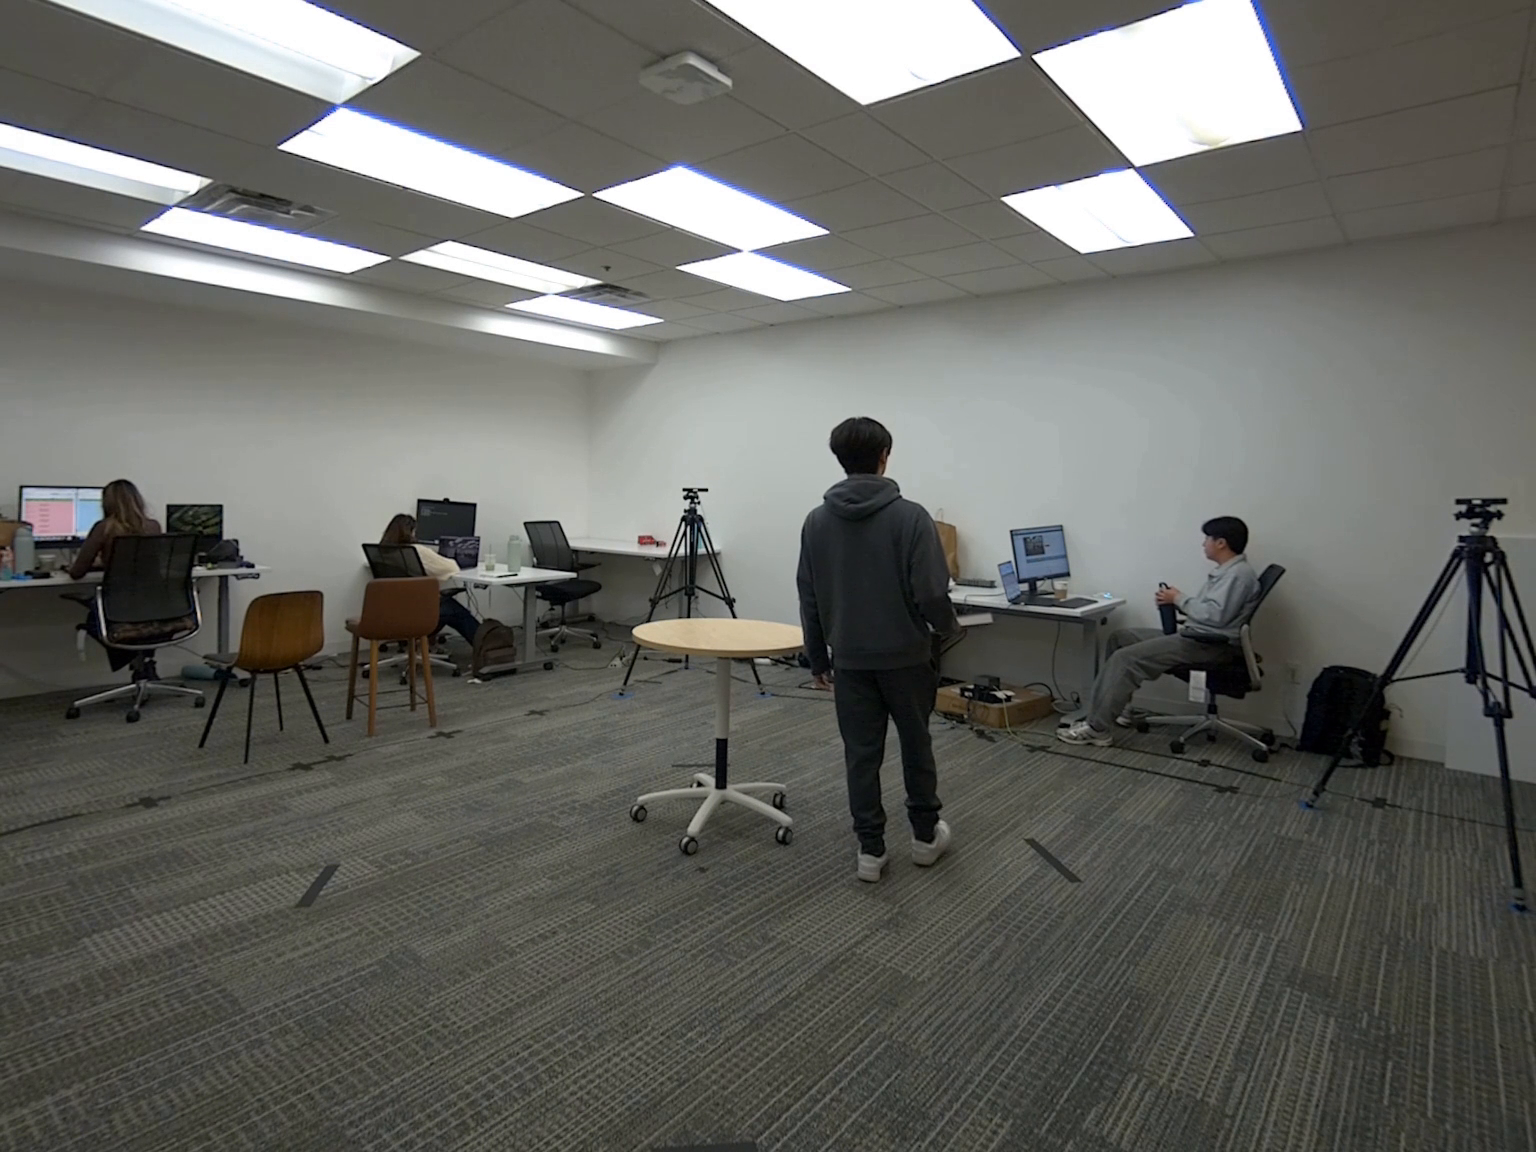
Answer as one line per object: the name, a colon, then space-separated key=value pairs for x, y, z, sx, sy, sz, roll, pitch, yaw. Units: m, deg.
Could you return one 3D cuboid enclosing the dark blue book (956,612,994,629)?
dark blue book: x=0.722 y=0.179 z=3.295 sx=0.241 sy=0.045 sz=0.164 roll=-5 pitch=-7 yaw=-17
